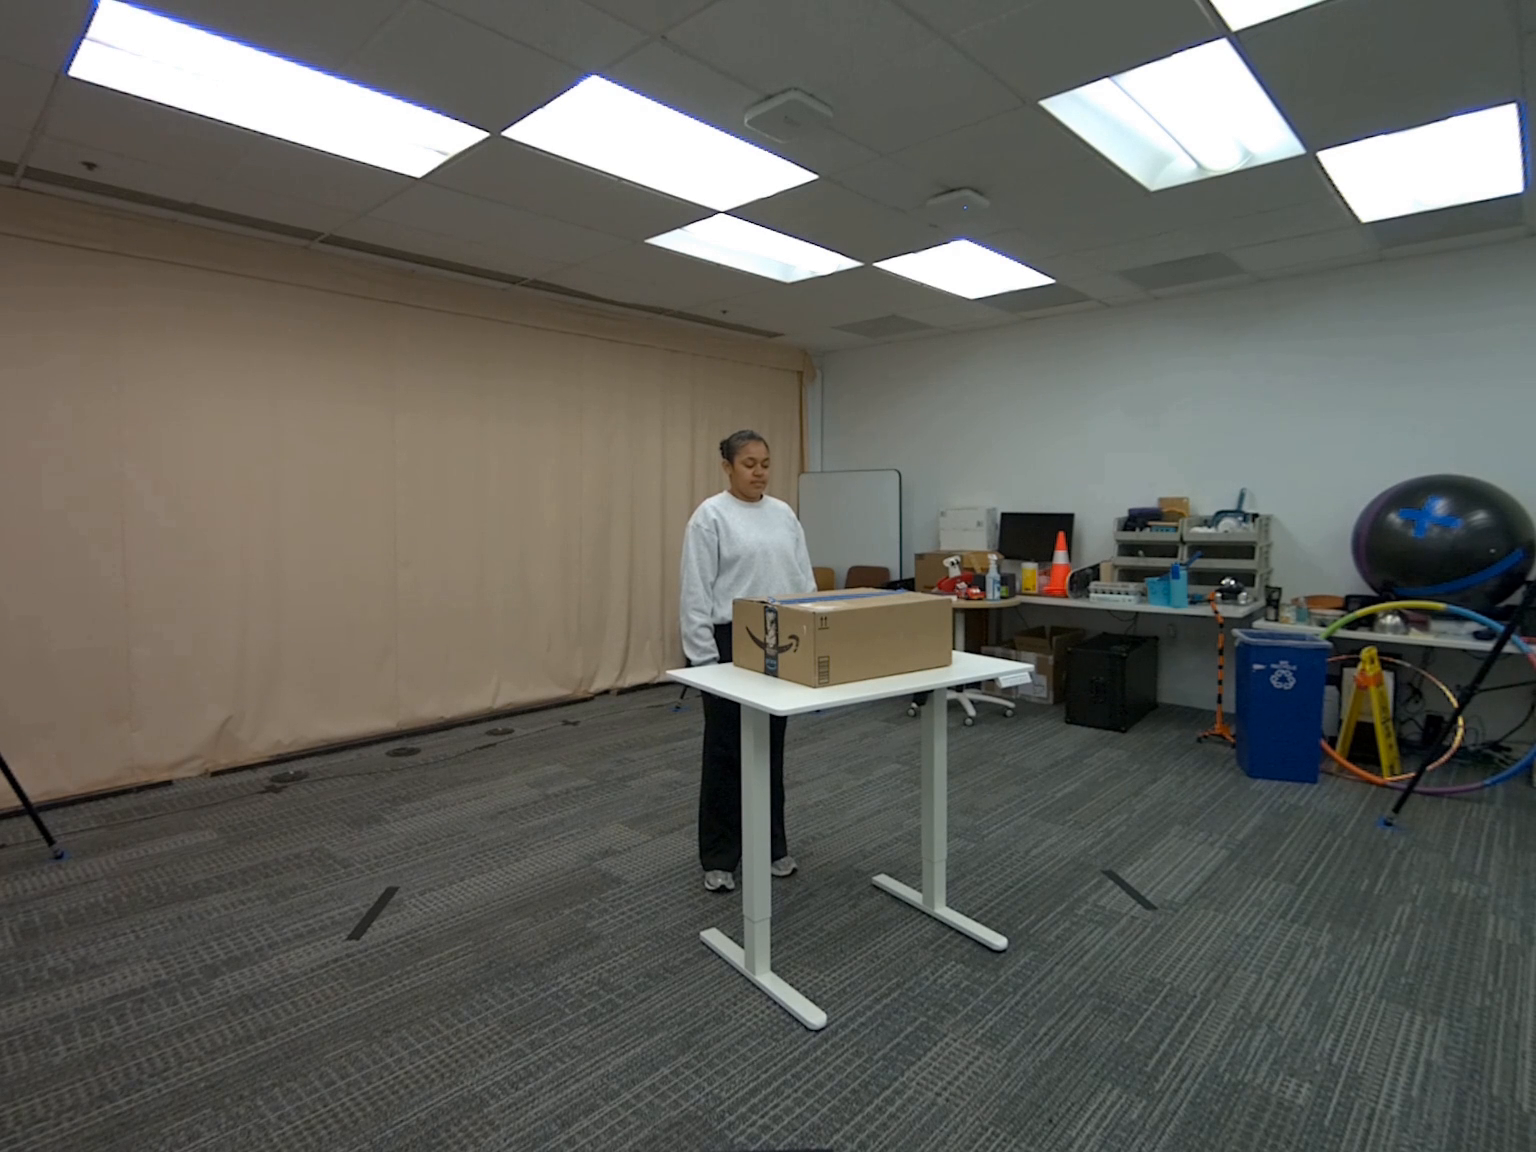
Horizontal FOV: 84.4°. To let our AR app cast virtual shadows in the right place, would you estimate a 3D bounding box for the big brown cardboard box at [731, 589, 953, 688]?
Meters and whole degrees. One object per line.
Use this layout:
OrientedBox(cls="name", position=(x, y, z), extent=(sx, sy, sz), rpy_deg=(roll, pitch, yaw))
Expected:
OrientedBox(cls="big brown cardboard box", position=(0.237, 0.178, 2.662), extent=(0.572, 0.233, 0.430), rpy_deg=(-3, 5, -34))
